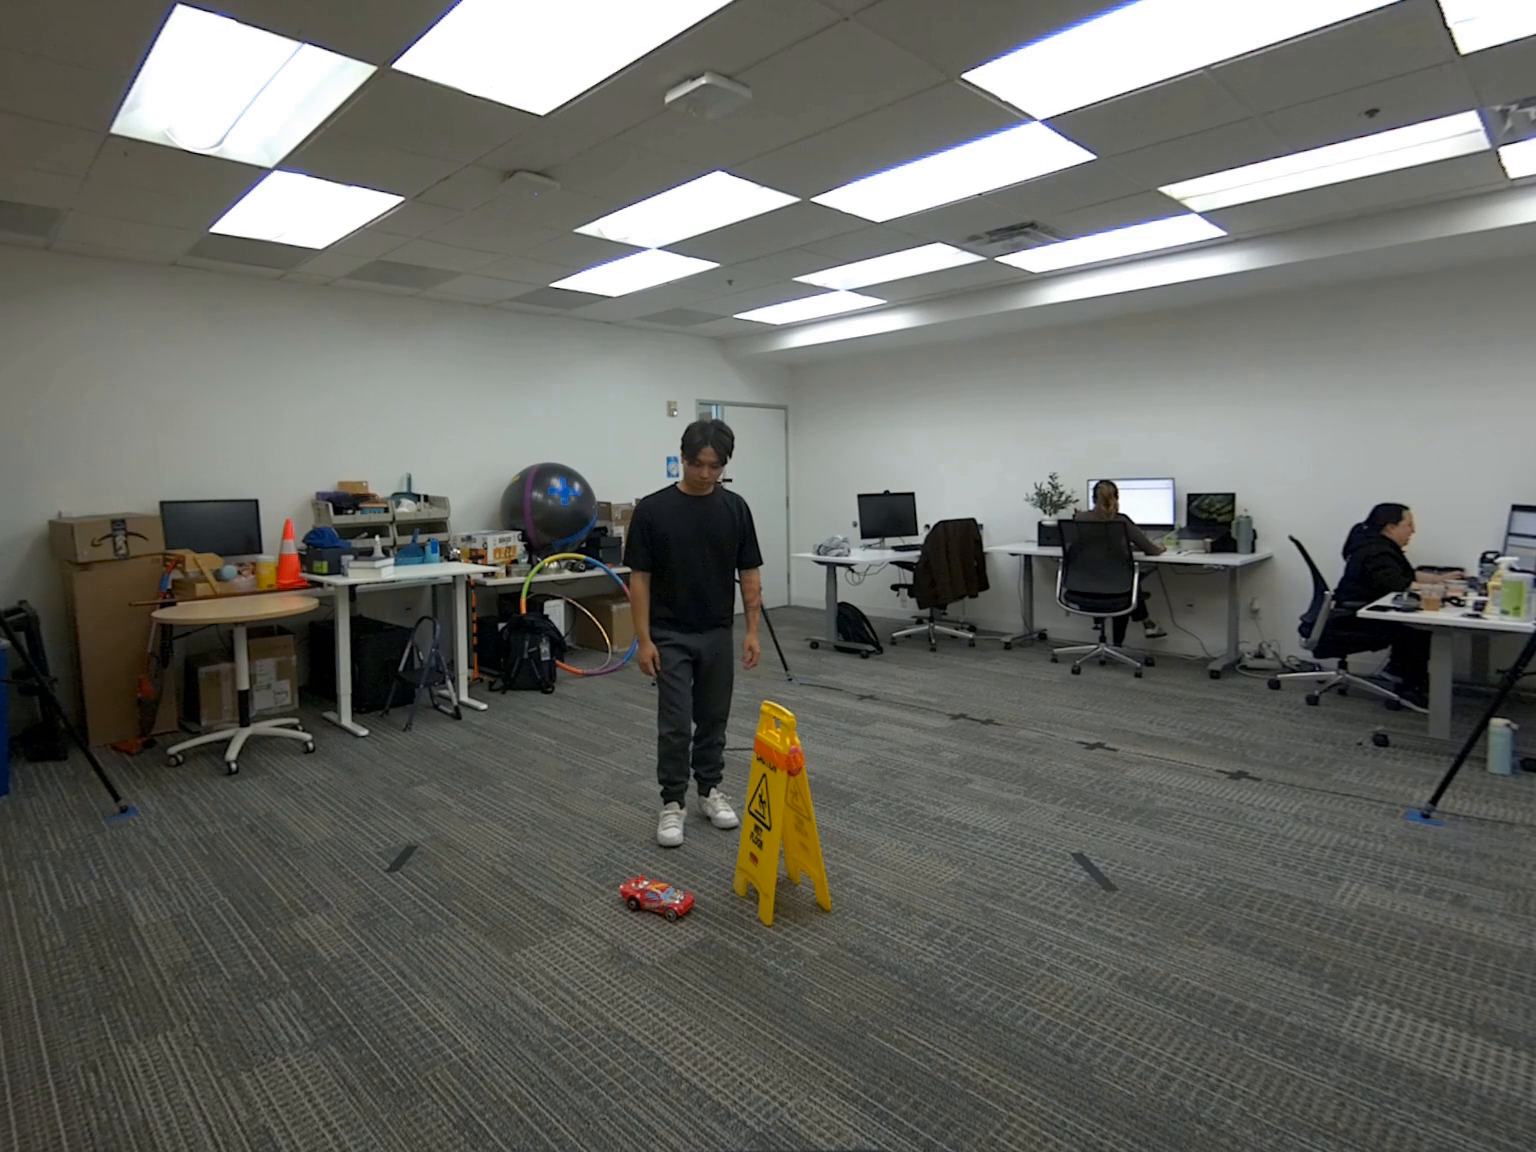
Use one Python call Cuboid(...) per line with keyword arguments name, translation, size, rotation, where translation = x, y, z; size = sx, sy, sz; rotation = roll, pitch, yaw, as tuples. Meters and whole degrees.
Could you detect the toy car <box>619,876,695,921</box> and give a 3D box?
Cuboid(name="toy car", translation=(-0.367, 1.061, 2.802), size=(0.262, 0.082, 0.128), rotation=(14, 15, 27))
